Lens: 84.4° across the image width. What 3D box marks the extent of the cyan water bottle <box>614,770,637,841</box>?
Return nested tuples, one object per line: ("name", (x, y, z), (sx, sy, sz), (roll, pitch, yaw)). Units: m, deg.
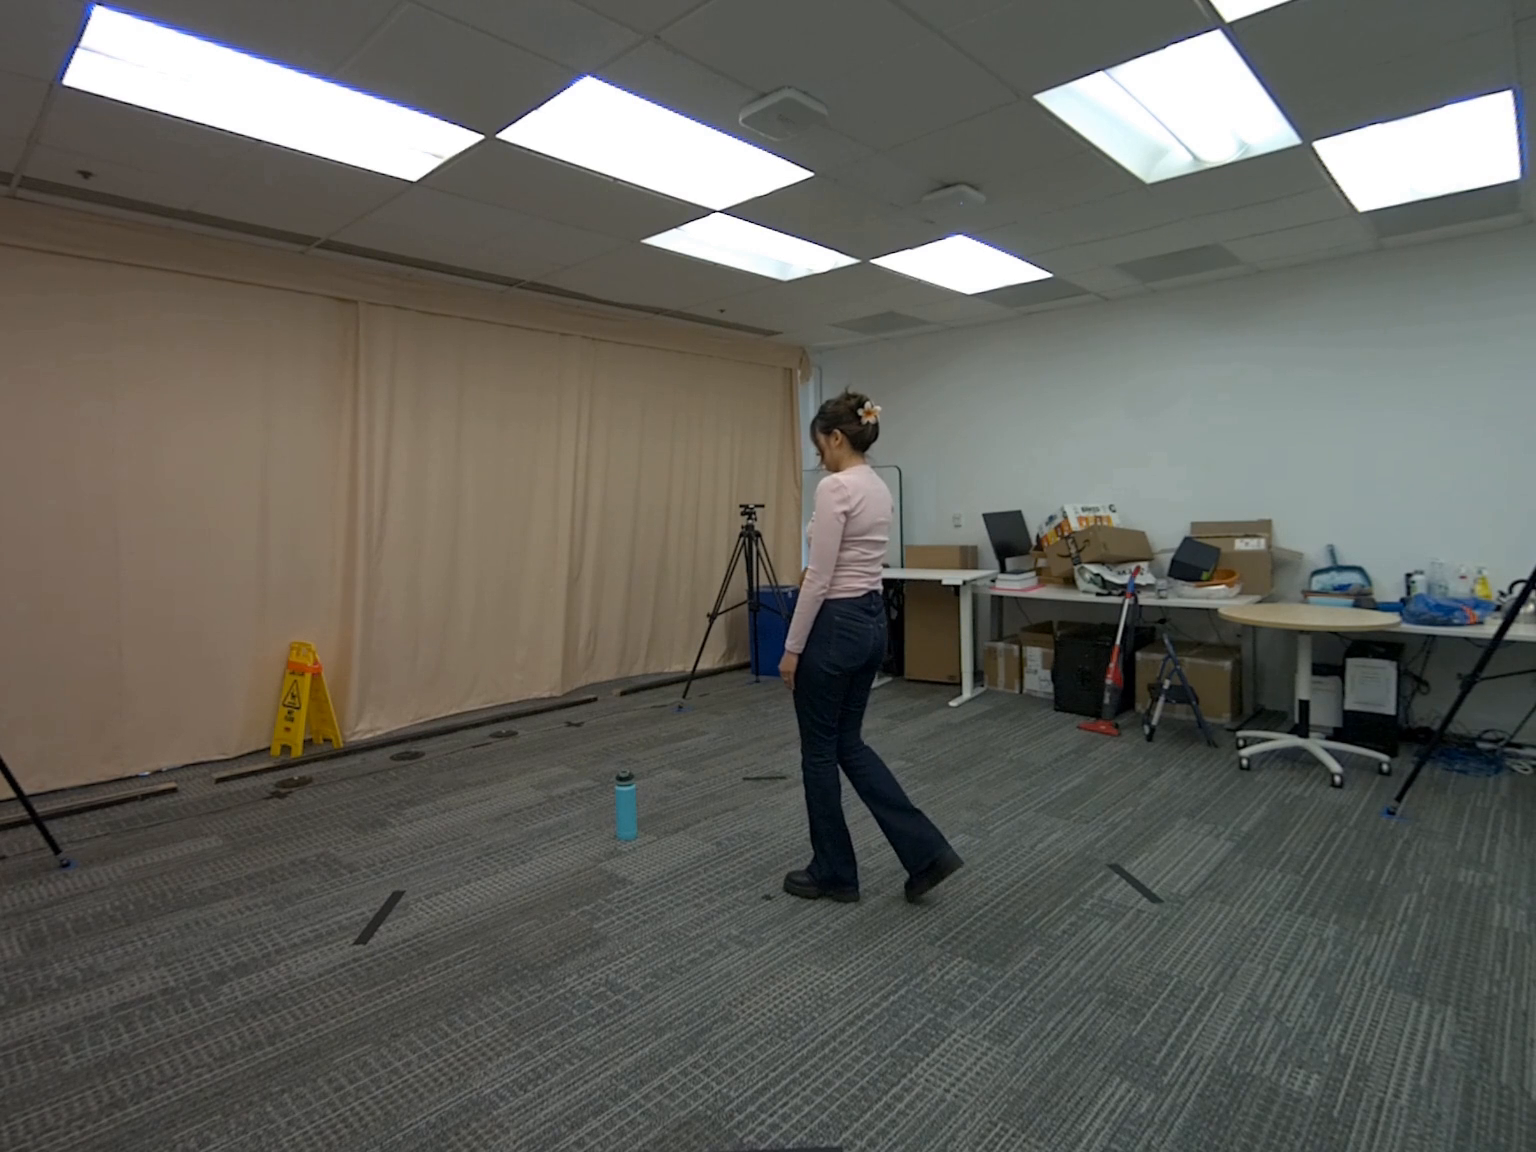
("cyan water bottle", (-0.605, 0.965, 3.564), (0.092, 0.283, 0.092), (-2, 2, -2))
